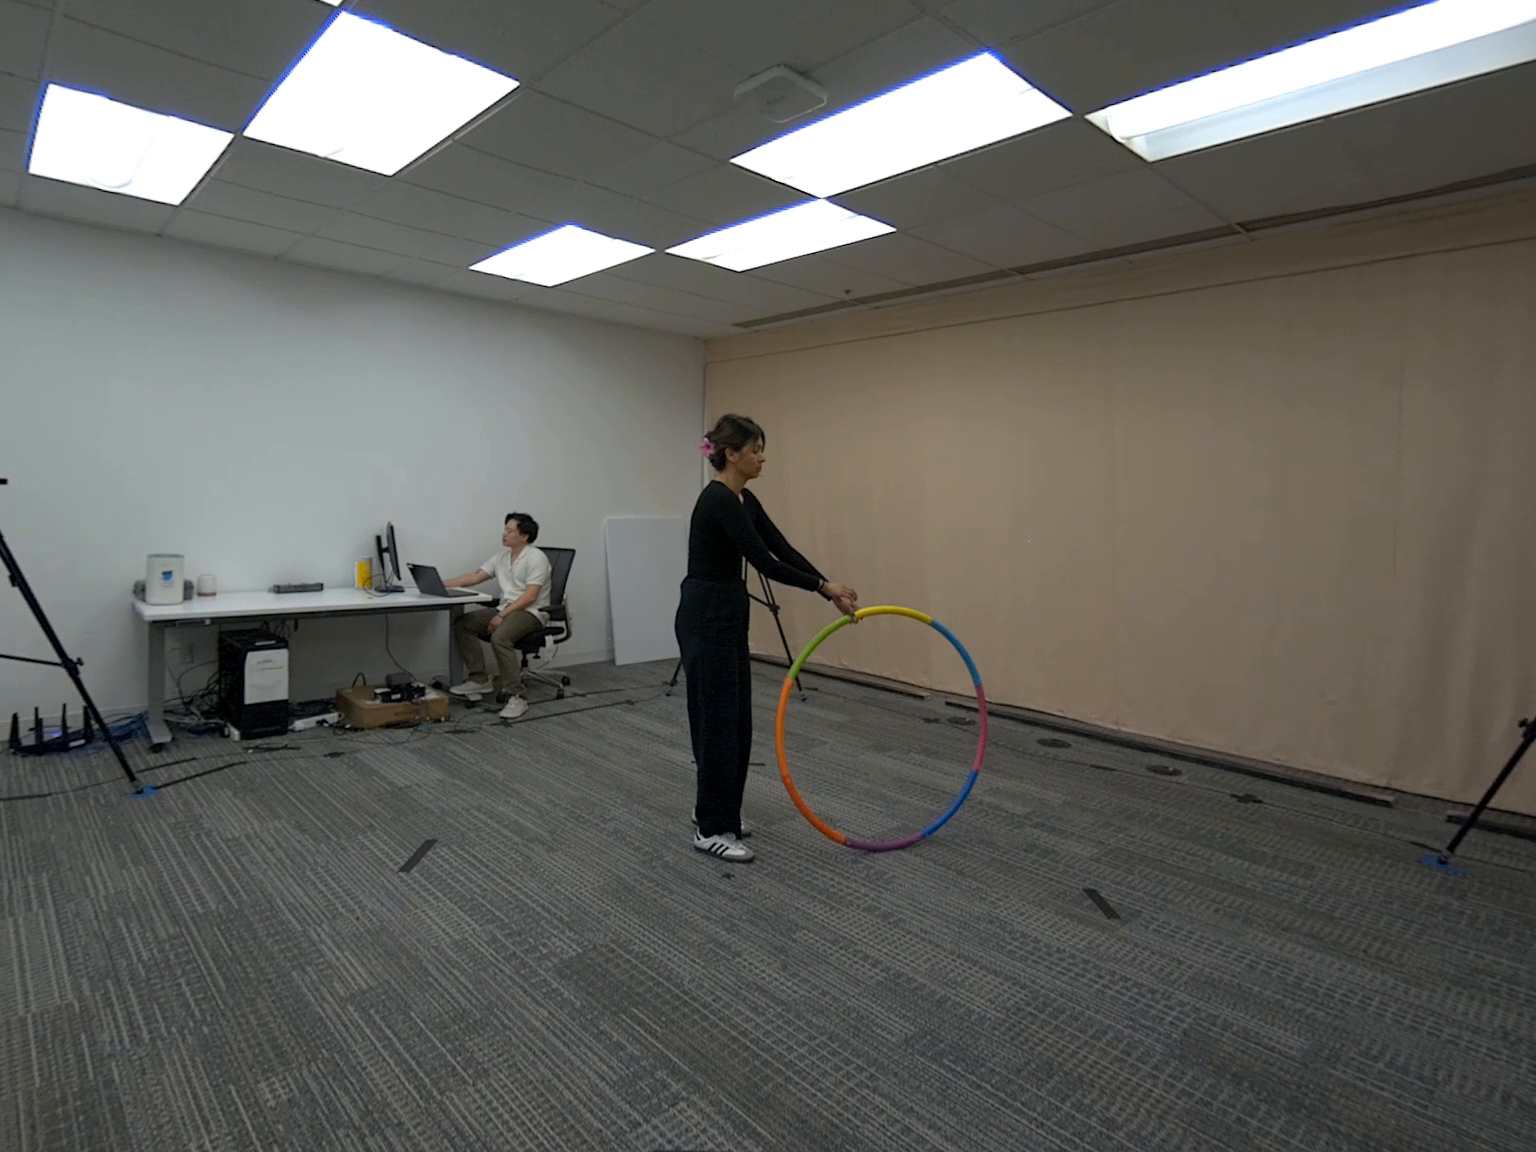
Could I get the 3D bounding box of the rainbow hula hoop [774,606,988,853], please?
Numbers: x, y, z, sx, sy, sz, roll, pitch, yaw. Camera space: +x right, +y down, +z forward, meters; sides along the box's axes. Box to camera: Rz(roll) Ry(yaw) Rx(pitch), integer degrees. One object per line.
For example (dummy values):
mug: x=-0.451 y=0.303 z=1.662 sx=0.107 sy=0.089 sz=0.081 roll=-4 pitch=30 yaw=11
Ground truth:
rainbow hula hoop: x=0.471 y=0.613 z=3.412 sx=0.962 sy=0.981 sz=0.036 roll=0 pitch=-4 yaw=-22
